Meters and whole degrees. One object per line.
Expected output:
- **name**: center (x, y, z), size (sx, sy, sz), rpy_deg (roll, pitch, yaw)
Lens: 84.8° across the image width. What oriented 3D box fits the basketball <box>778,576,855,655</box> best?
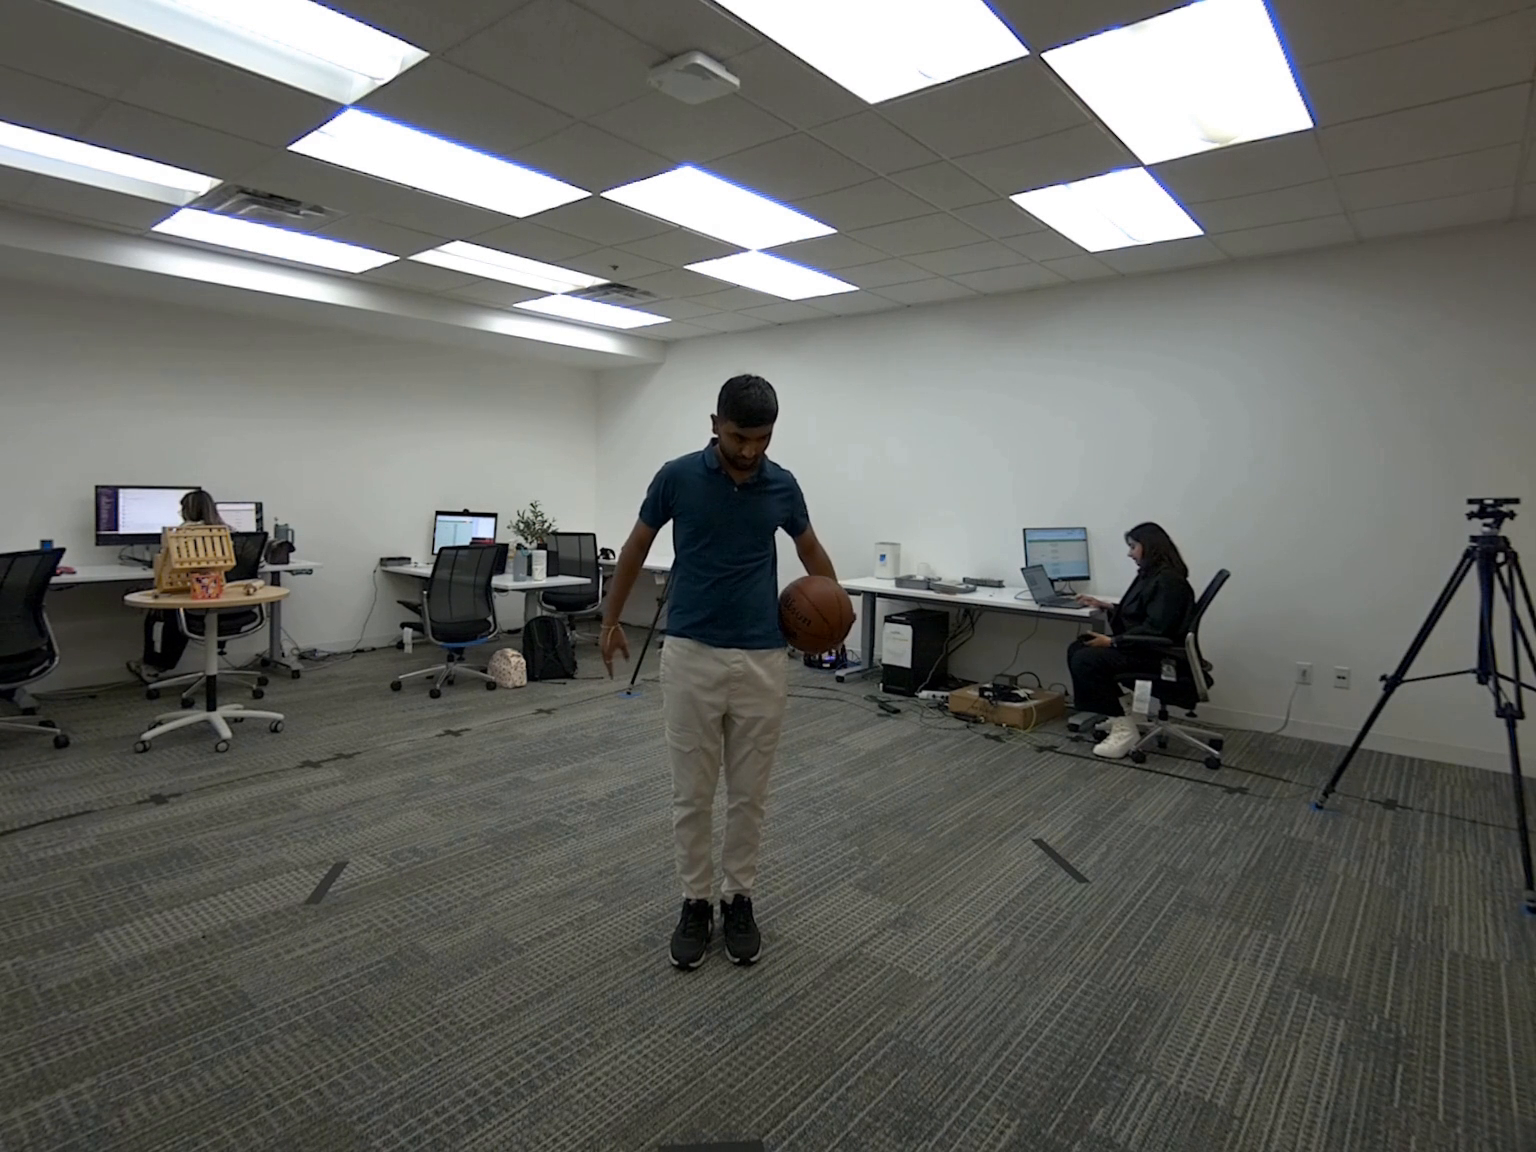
- **basketball**: center (0.124, 0.110, 2.586), size (0.235, 0.235, 0.237), rpy_deg (1, 4, -2)
